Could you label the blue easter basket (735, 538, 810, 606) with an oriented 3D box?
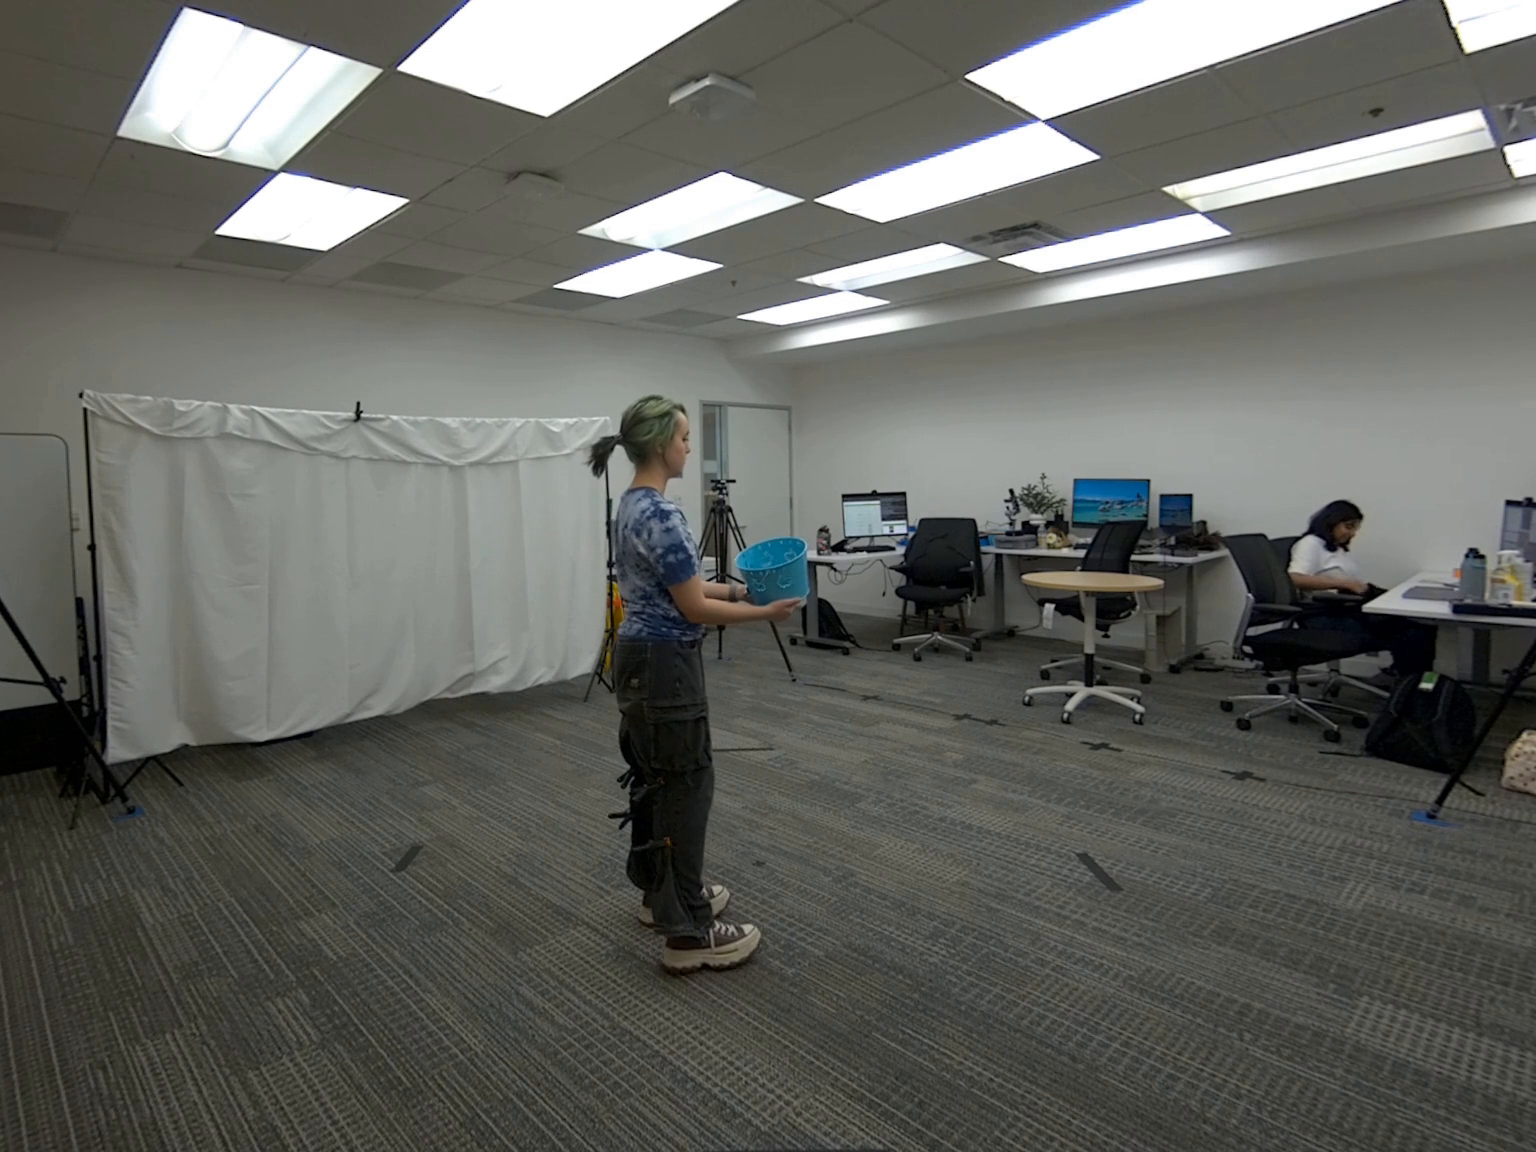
[{"bbox_3d":[0.008,-0.003,2.708,0.244,0.152,0.248,-15,23,5],"label":"blue easter basket"}]
